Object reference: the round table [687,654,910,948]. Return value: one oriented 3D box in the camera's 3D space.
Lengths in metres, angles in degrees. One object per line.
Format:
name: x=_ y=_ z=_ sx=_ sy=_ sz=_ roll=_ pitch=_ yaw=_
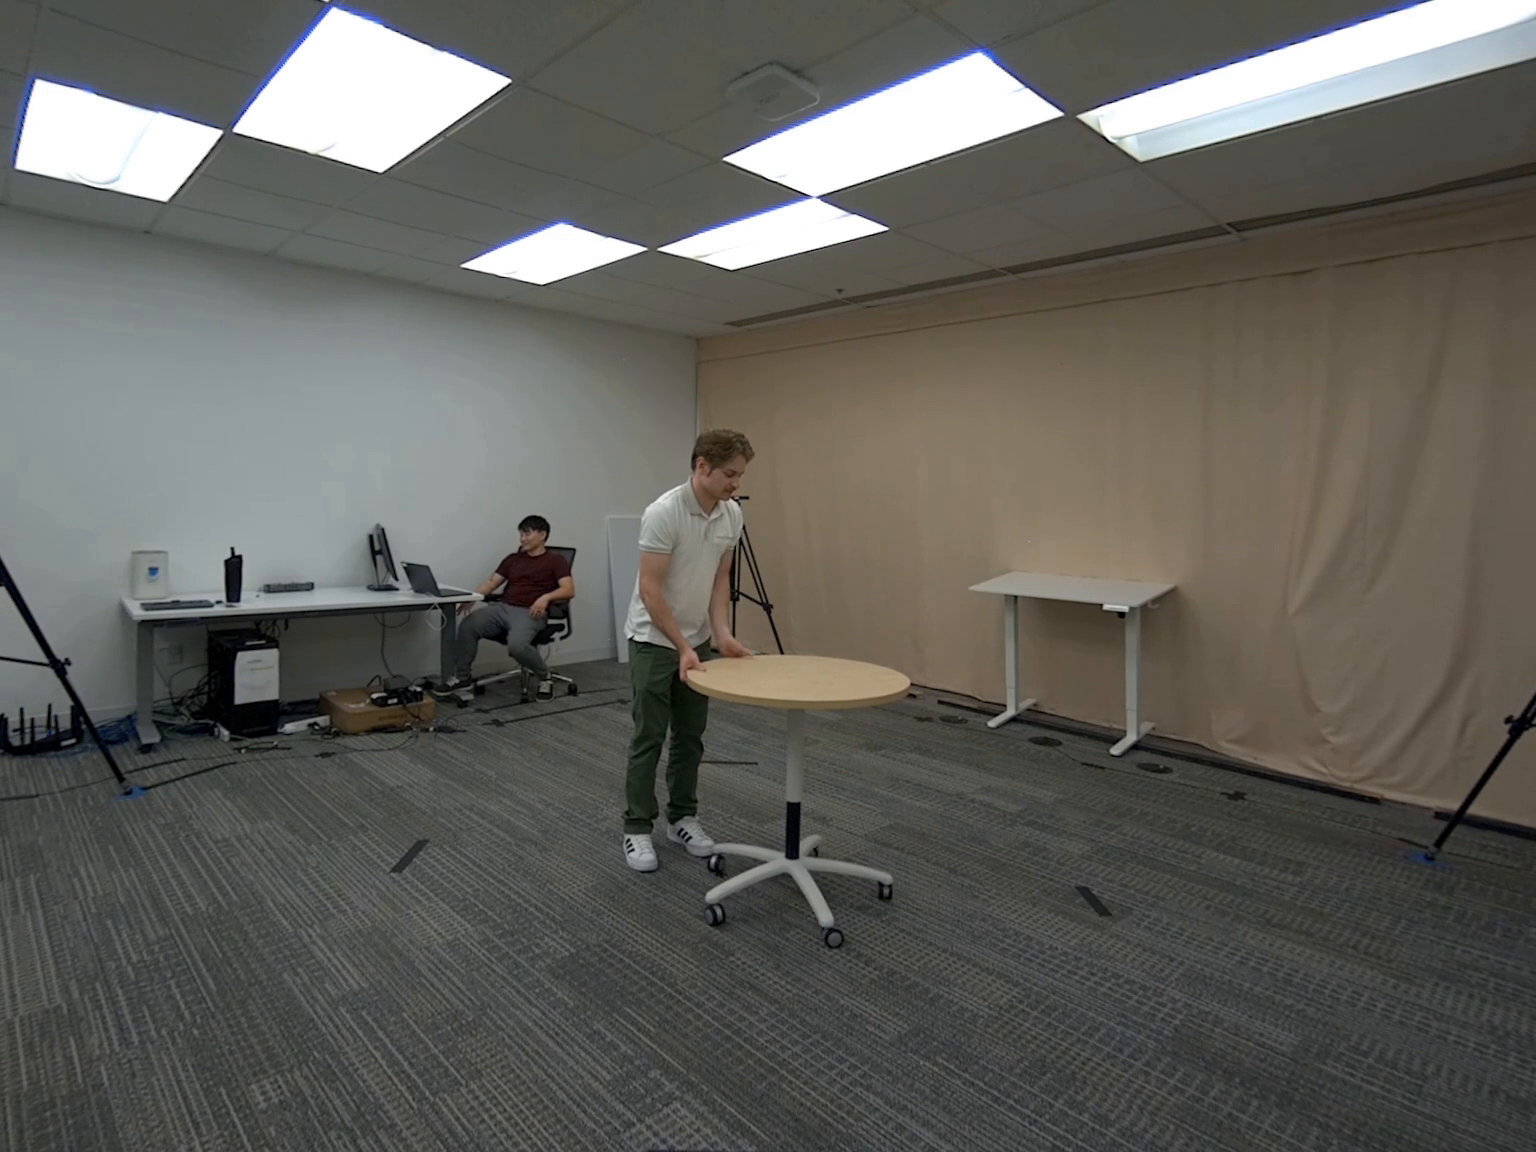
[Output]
round table: x=0.089 y=0.736 z=2.919 sx=0.763 sy=0.792 sz=0.766 roll=1 pitch=4 yaw=-1
